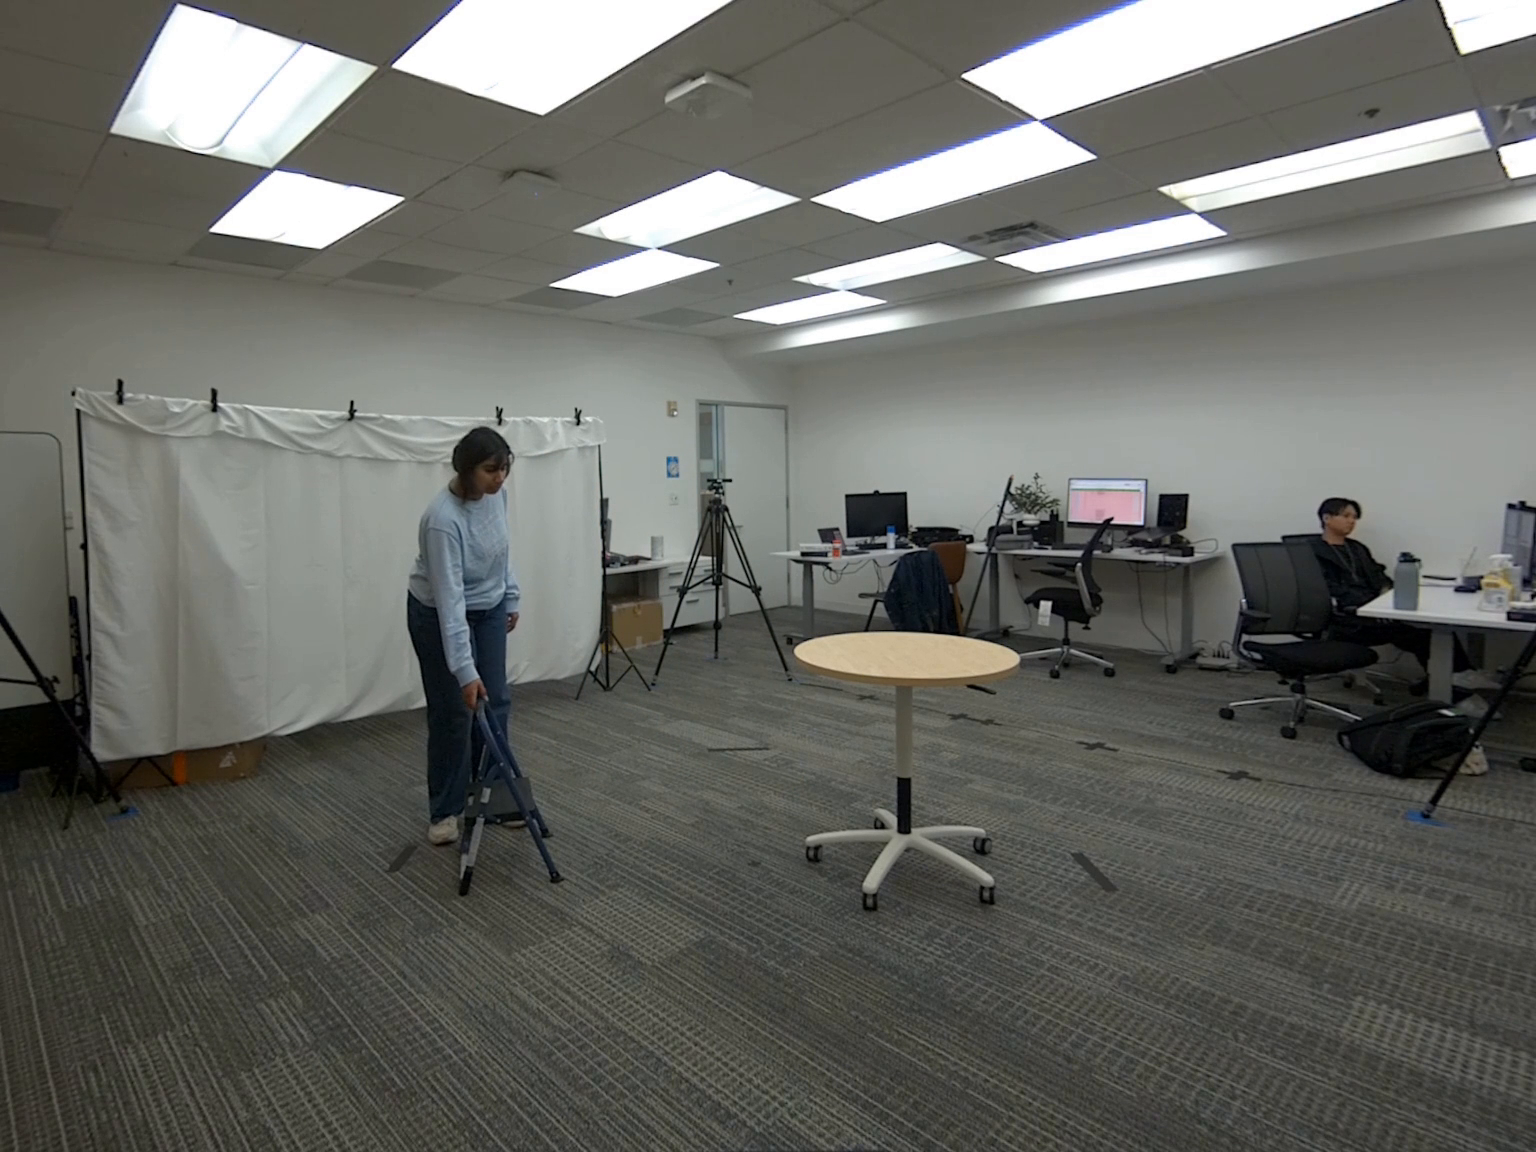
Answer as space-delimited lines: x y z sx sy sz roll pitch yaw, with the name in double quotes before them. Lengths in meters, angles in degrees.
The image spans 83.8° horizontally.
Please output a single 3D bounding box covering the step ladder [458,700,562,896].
"step ladder" -0.956 0.758 3.128 0.344 0.604 0.439 -3 5 -19
